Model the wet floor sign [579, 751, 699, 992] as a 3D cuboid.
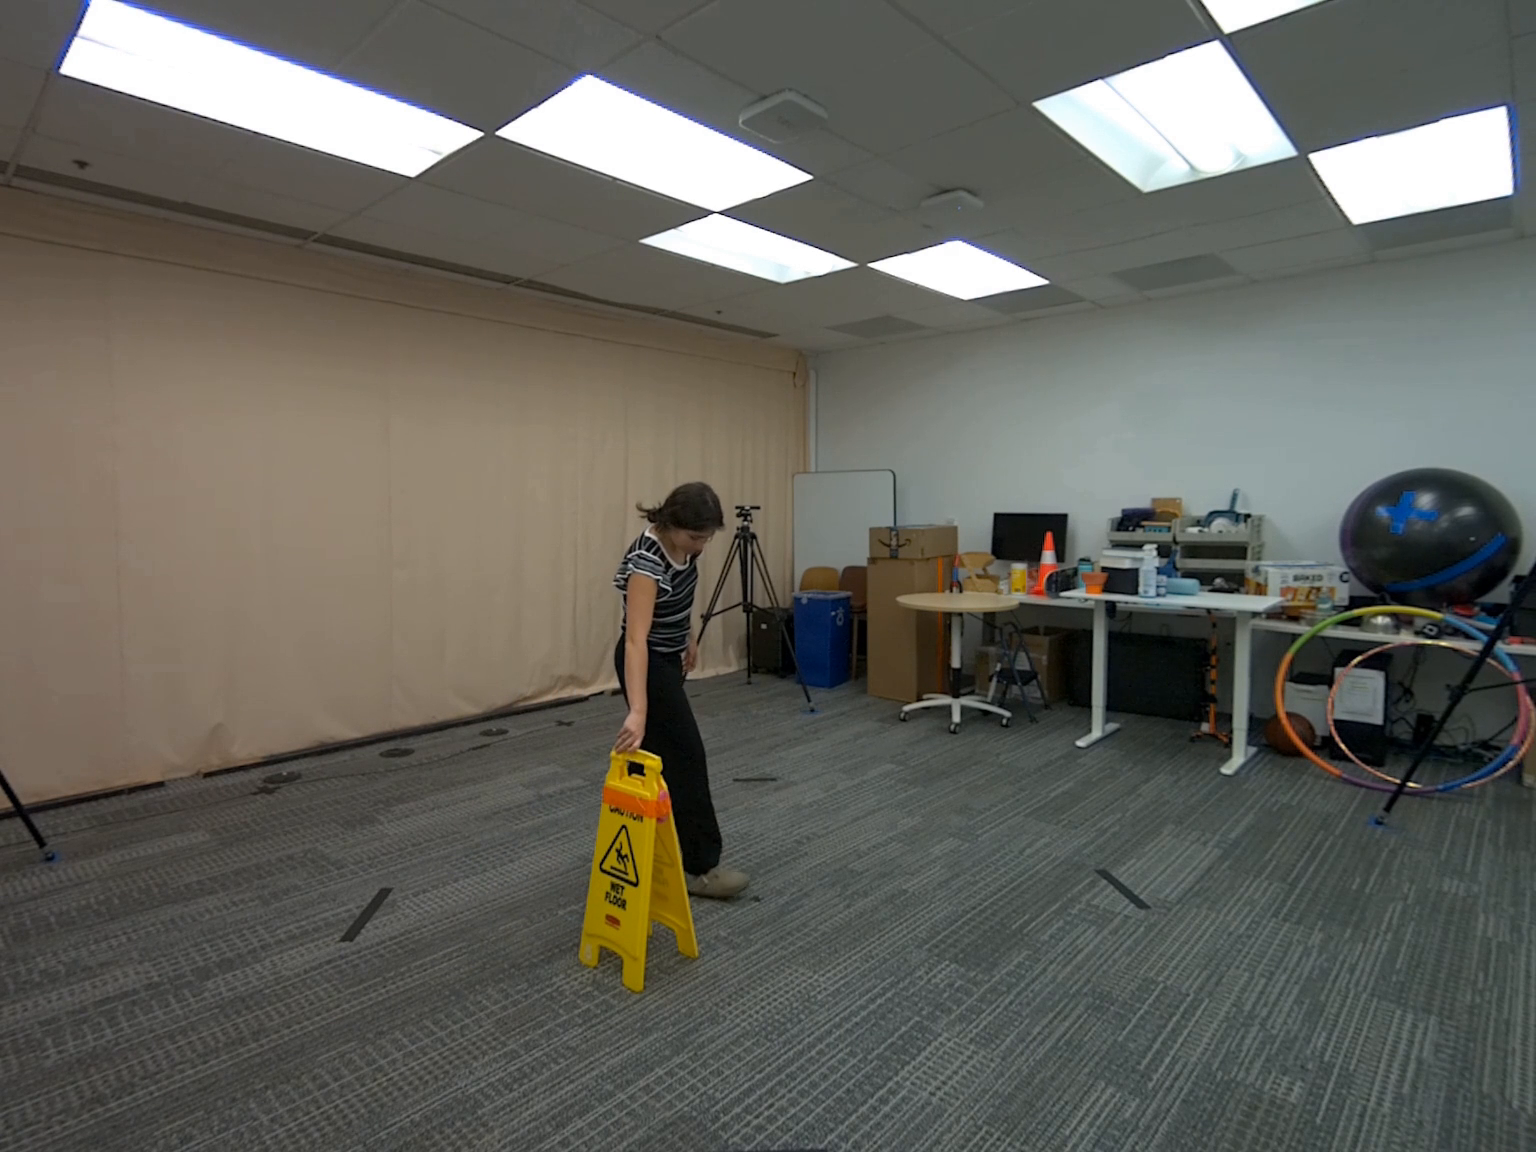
[{"bbox_3d":[-0.399,0.851,2.573,0.291,0.645,0.281,2,4,40],"label":"wet floor sign"}]
